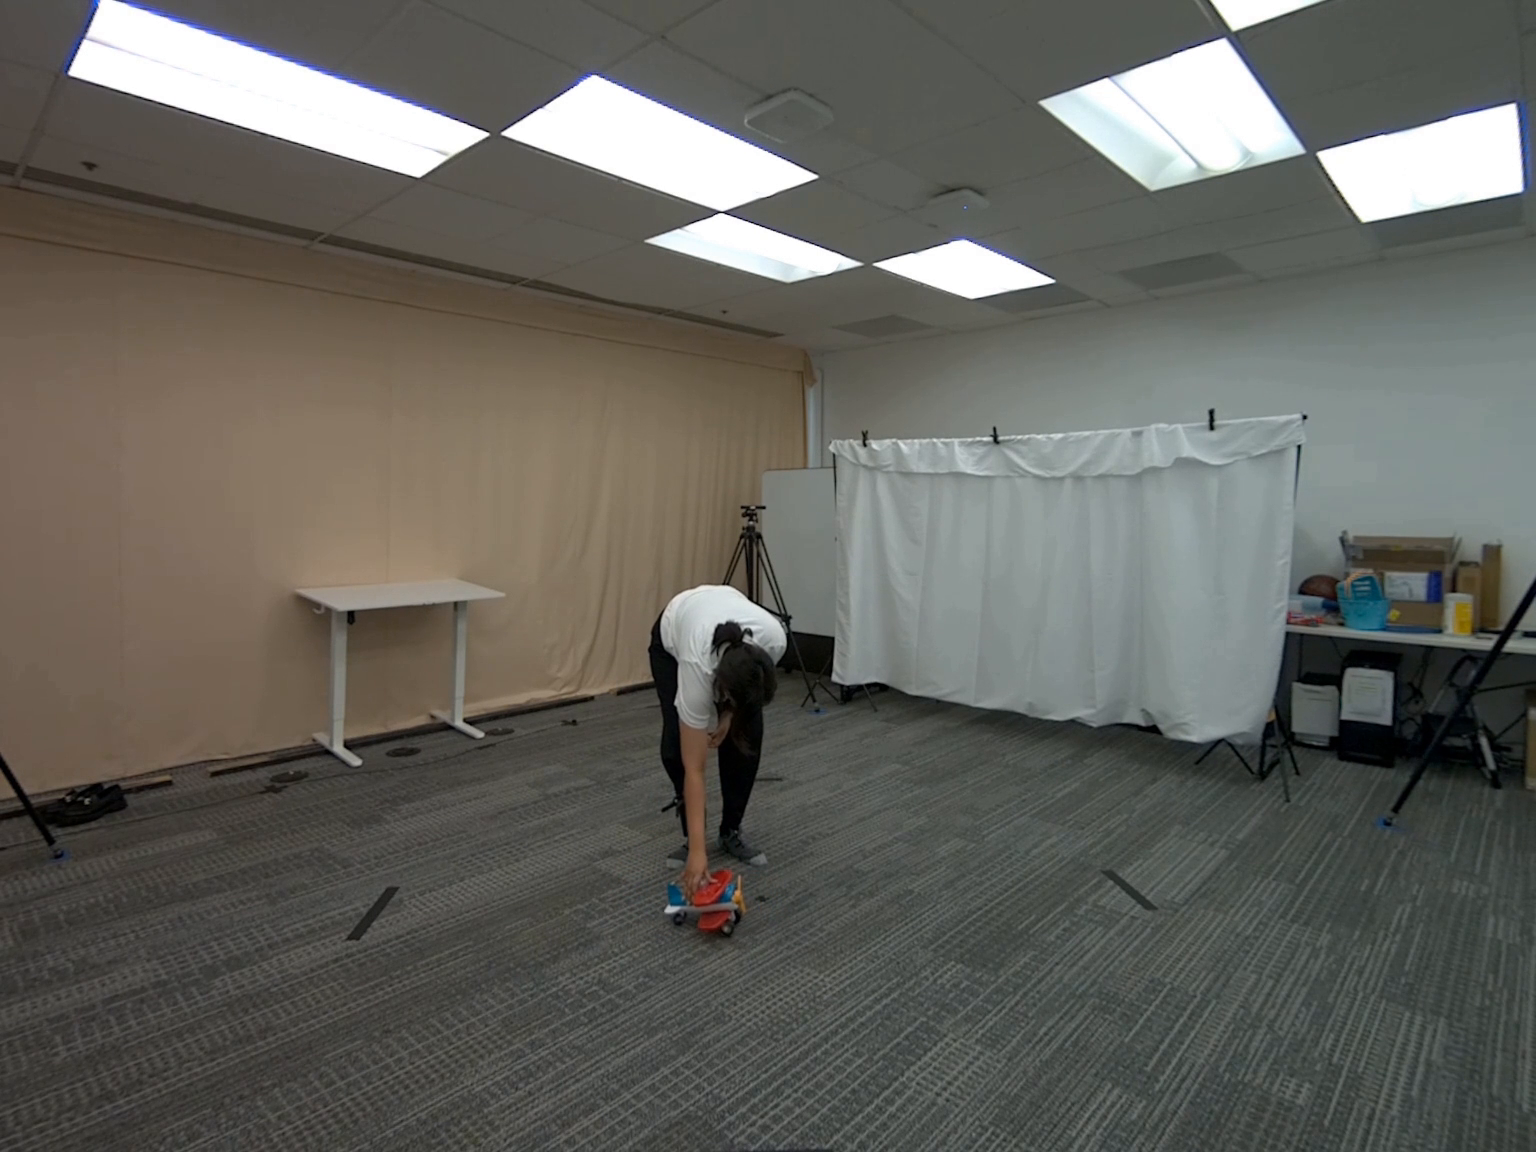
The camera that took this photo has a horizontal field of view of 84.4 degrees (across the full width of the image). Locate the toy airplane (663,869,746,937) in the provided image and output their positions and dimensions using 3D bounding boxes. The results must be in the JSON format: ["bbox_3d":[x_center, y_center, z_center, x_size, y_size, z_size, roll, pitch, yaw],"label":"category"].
[{"bbox_3d":[-0.212,1.086,2.769,0.256,0.156,0.255,-1,5,-12],"label":"toy airplane"}]
